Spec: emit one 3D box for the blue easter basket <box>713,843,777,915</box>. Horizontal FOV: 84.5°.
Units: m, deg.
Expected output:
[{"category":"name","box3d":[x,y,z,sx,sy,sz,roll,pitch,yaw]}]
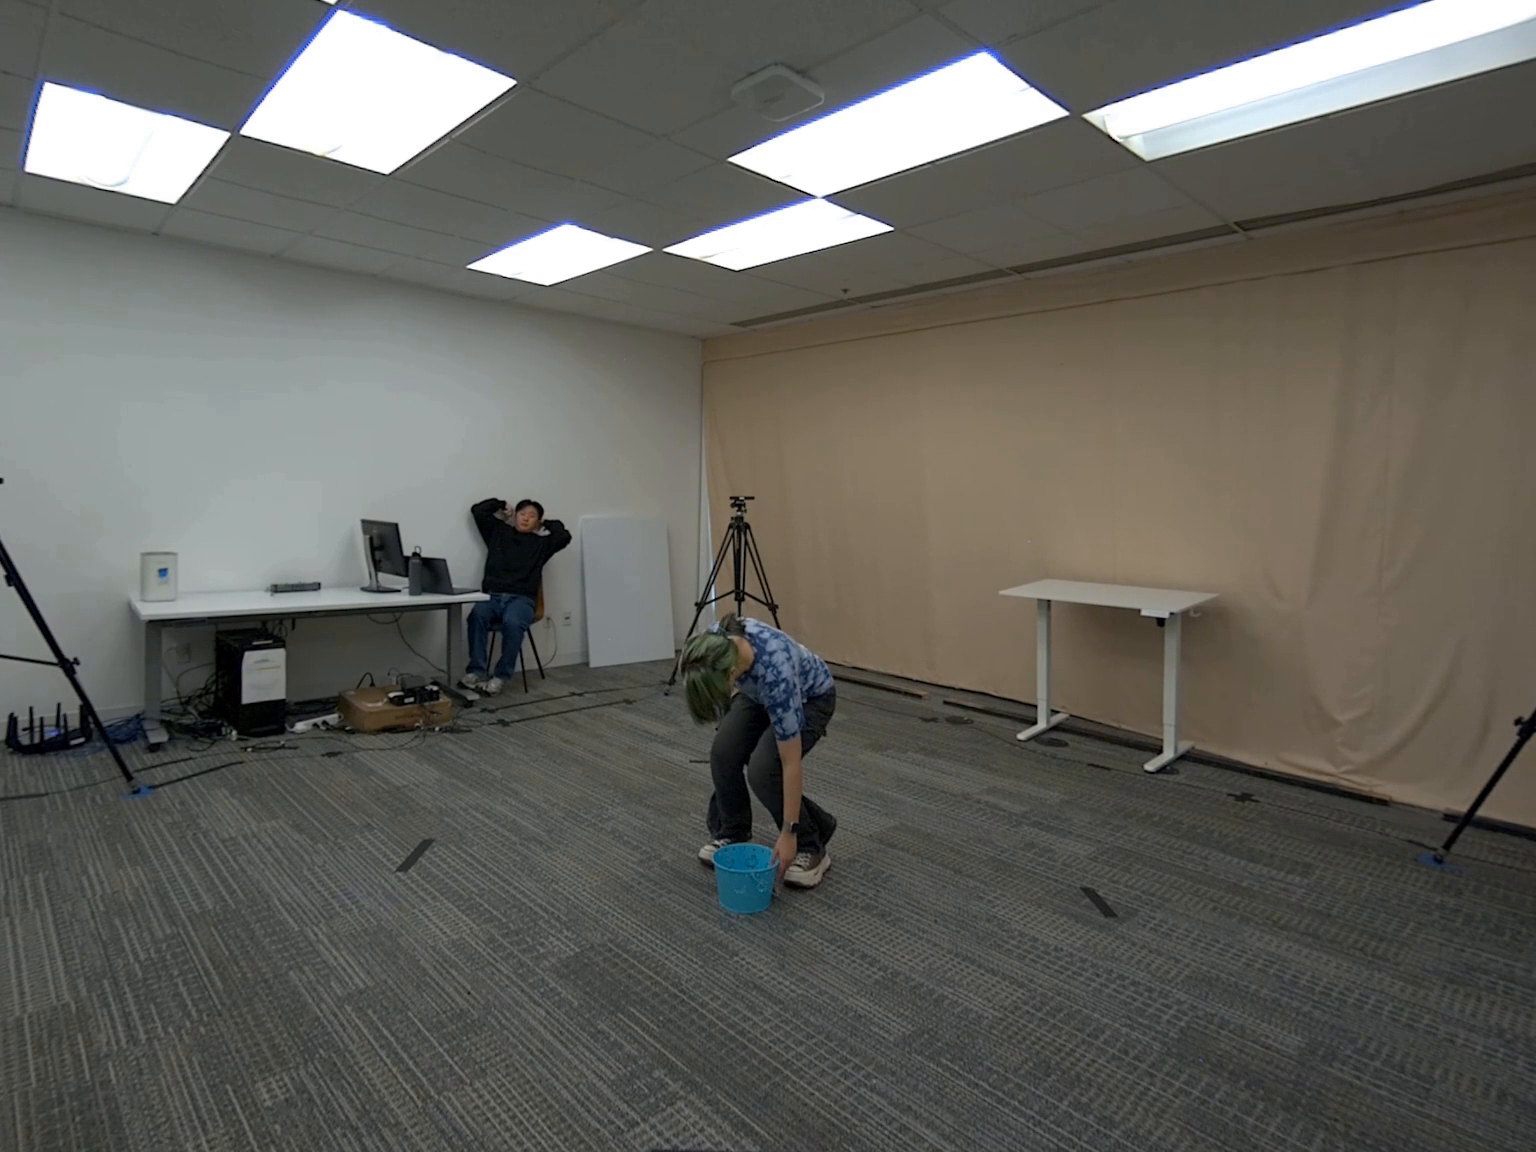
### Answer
[{"category":"blue easter basket","box3d":[-0.078,1.050,2.904,0.243,0.155,0.244,1,4,-1]}]
